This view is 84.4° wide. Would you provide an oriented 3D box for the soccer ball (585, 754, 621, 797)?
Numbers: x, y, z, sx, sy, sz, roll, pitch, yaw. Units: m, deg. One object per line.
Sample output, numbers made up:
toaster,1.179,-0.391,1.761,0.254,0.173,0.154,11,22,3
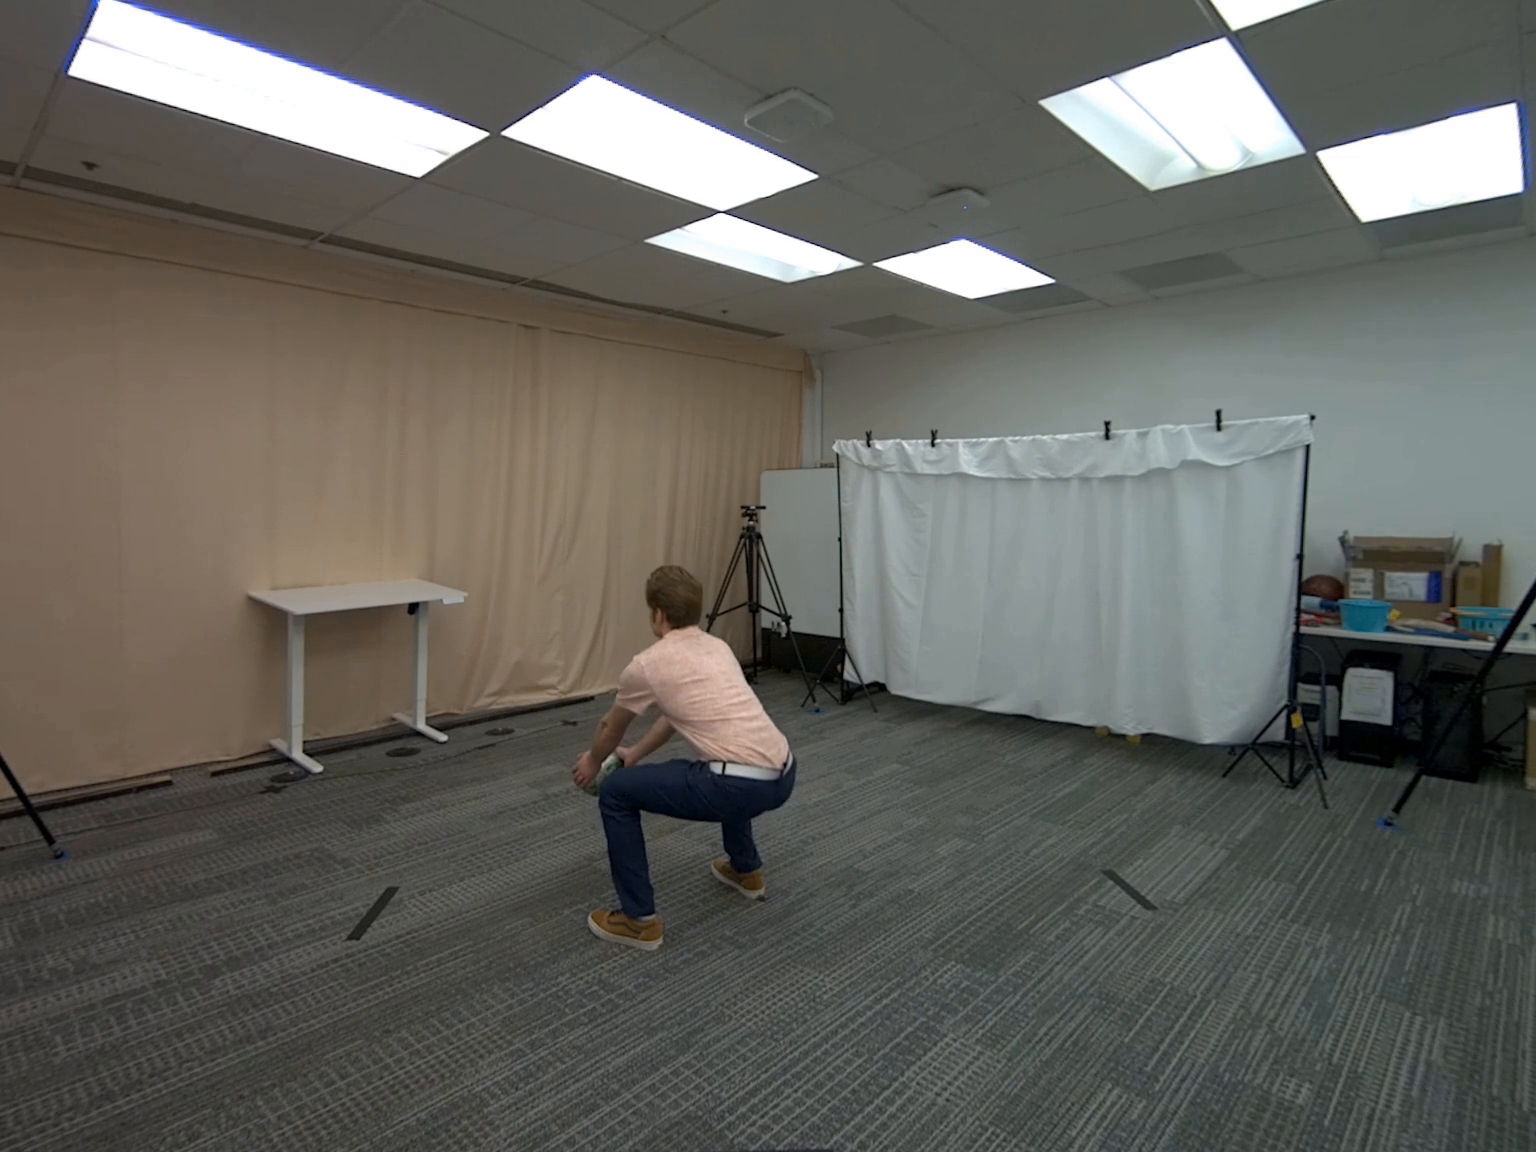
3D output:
soccer ball,-0.649,0.759,3.260,0.187,0.187,0.188,0,4,-2
